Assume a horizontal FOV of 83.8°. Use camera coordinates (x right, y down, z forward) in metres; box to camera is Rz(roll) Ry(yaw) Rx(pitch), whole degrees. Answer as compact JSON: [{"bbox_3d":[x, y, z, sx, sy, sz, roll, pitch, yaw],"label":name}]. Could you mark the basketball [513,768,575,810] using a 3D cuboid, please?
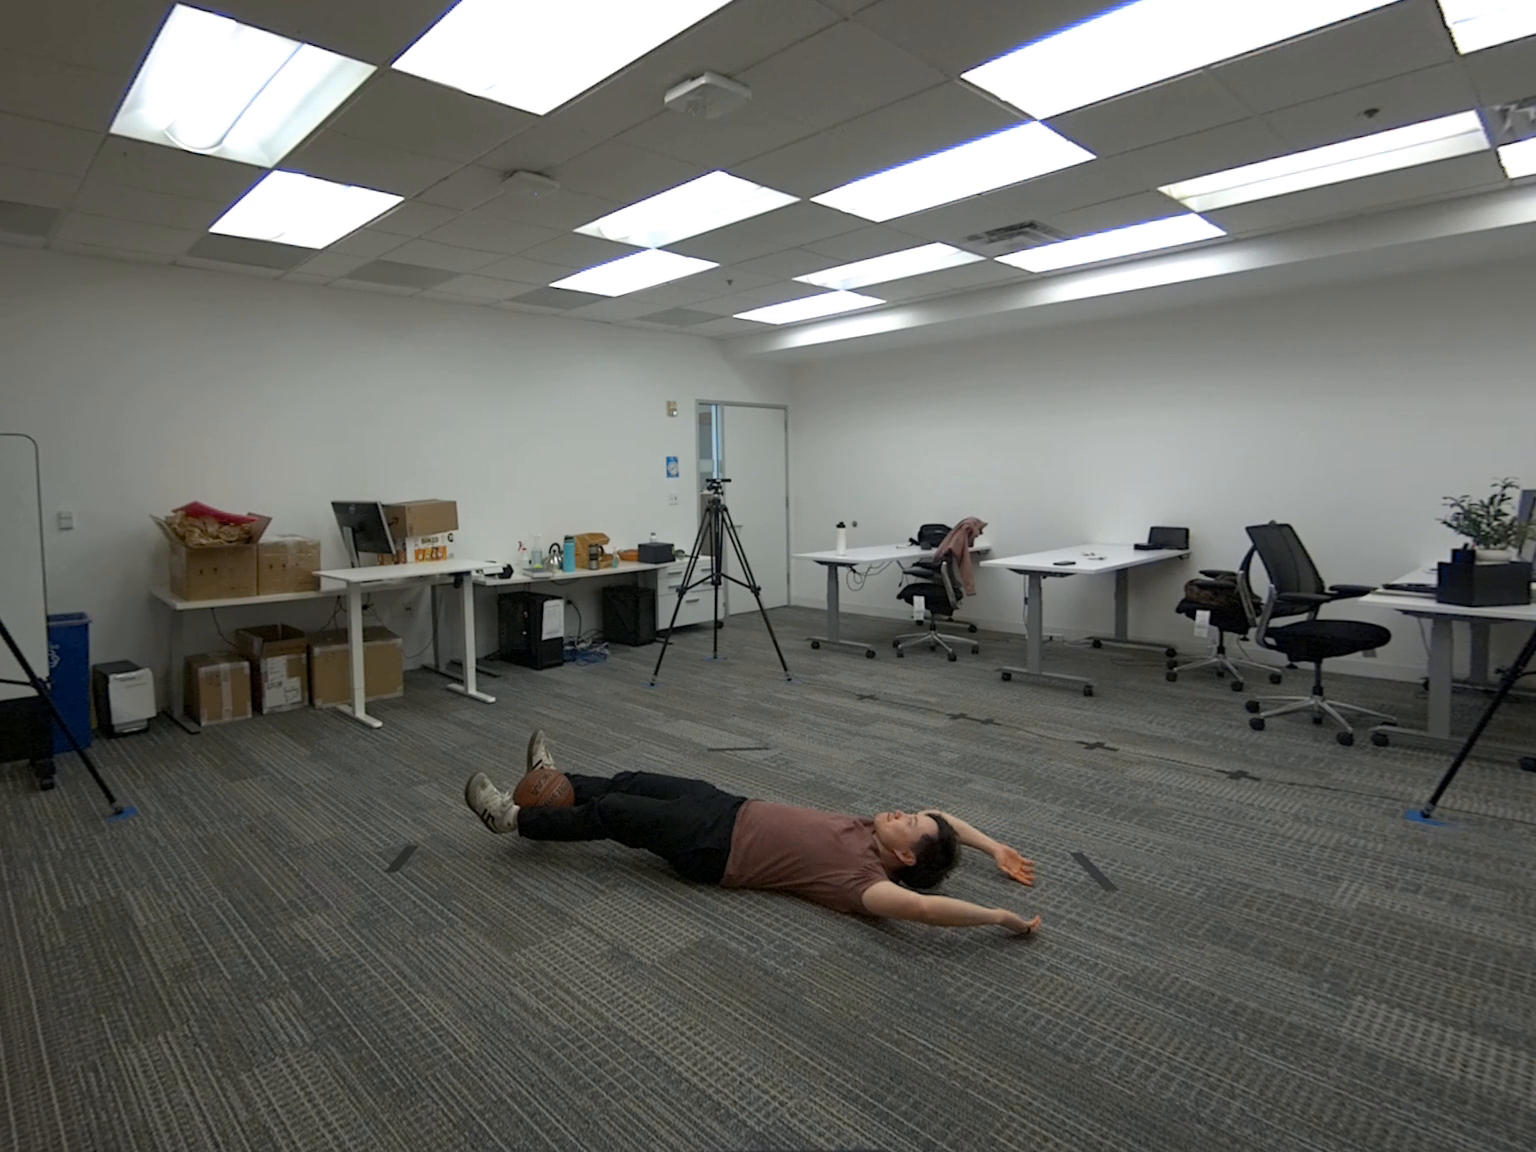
[{"bbox_3d":[-0.870,0.859,3.311,0.236,0.236,0.236,0,1,-2],"label":"basketball"}]
